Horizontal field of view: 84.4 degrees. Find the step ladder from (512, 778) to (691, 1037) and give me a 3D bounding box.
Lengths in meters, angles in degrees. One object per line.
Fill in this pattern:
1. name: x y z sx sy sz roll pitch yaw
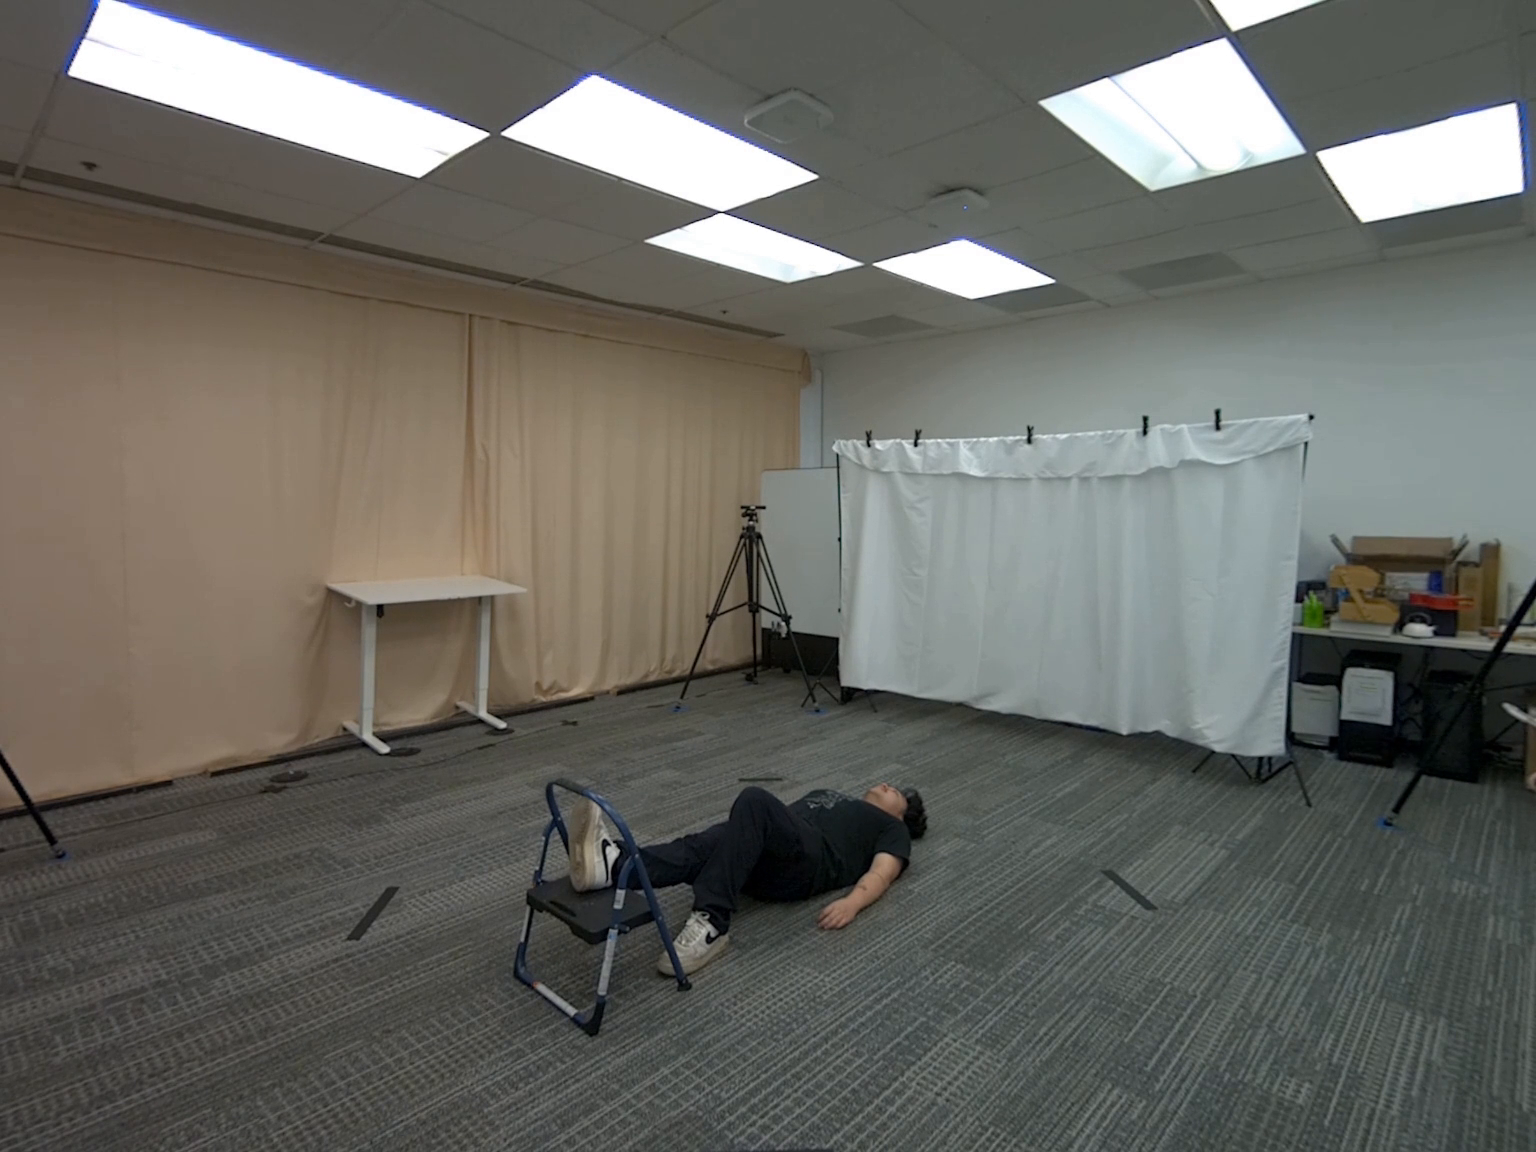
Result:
1. step ladder: -0.497 0.894 2.451 0.445 0.605 0.338 2 4 44
